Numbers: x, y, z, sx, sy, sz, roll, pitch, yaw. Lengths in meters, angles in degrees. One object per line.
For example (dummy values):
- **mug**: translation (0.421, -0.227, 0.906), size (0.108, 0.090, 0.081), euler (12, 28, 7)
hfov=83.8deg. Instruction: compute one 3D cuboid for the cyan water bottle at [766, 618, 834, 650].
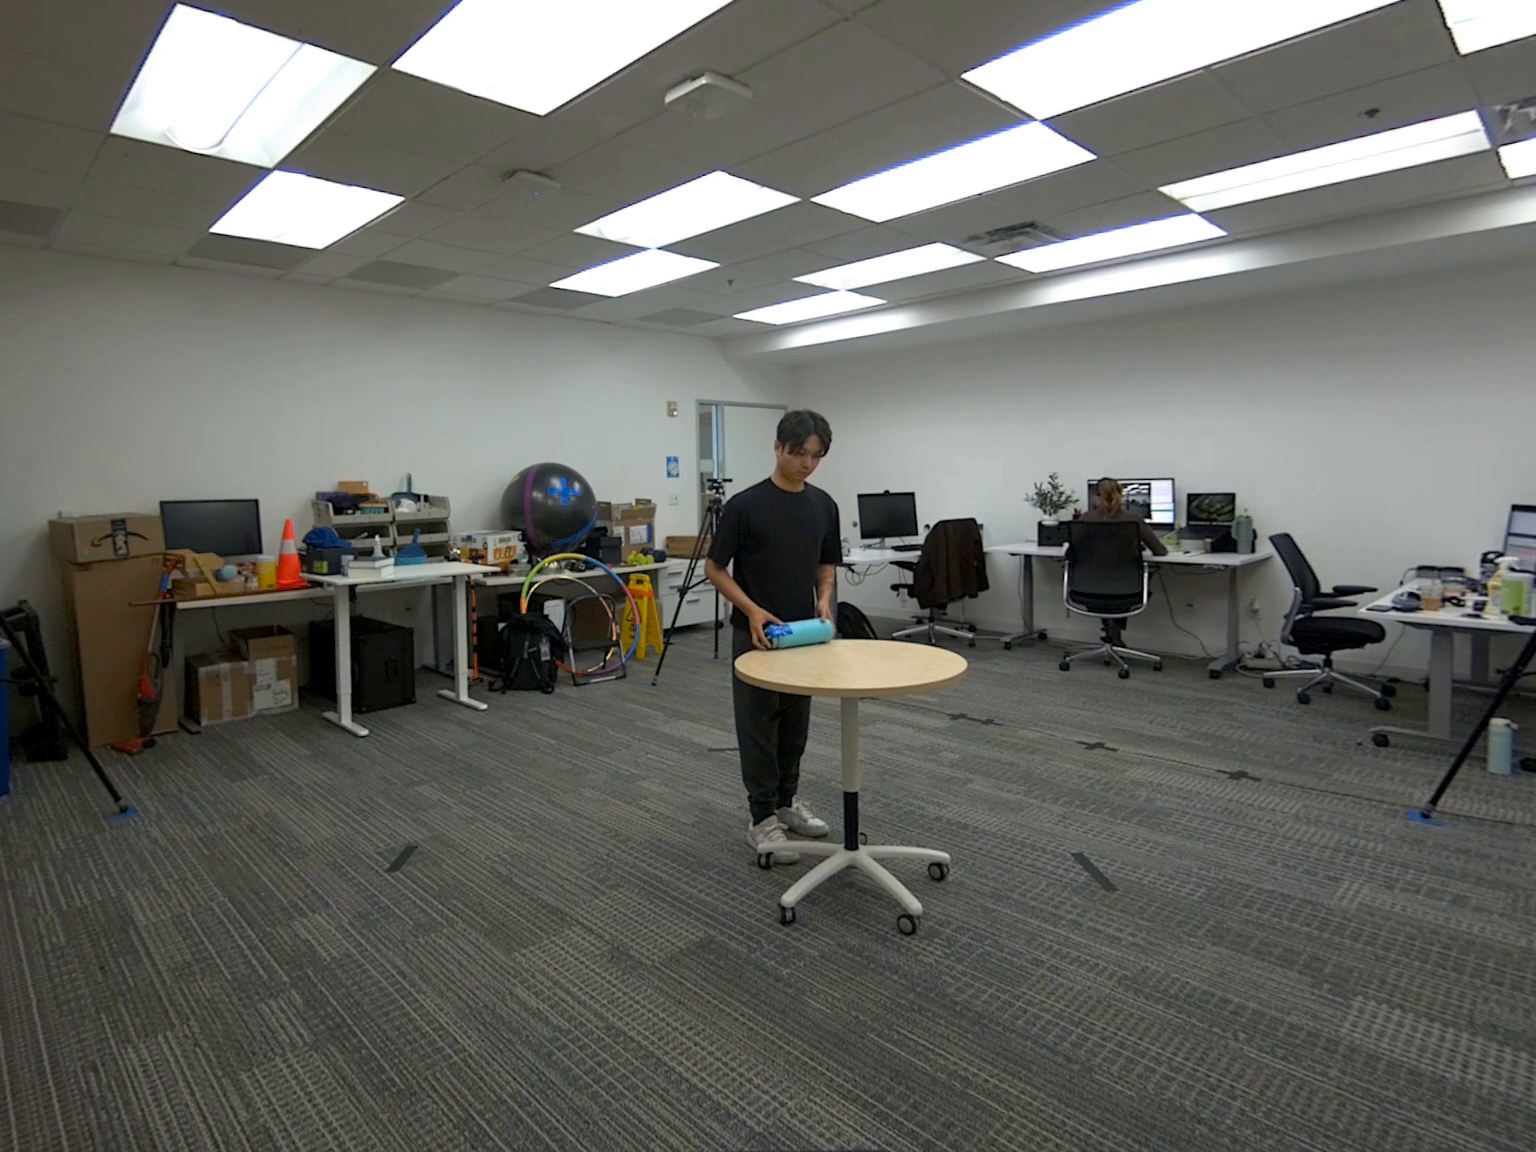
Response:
- **cyan water bottle**: translation (0.093, 0.213, 3.129), size (0.277, 0.092, 0.095), euler (-5, 6, -28)
